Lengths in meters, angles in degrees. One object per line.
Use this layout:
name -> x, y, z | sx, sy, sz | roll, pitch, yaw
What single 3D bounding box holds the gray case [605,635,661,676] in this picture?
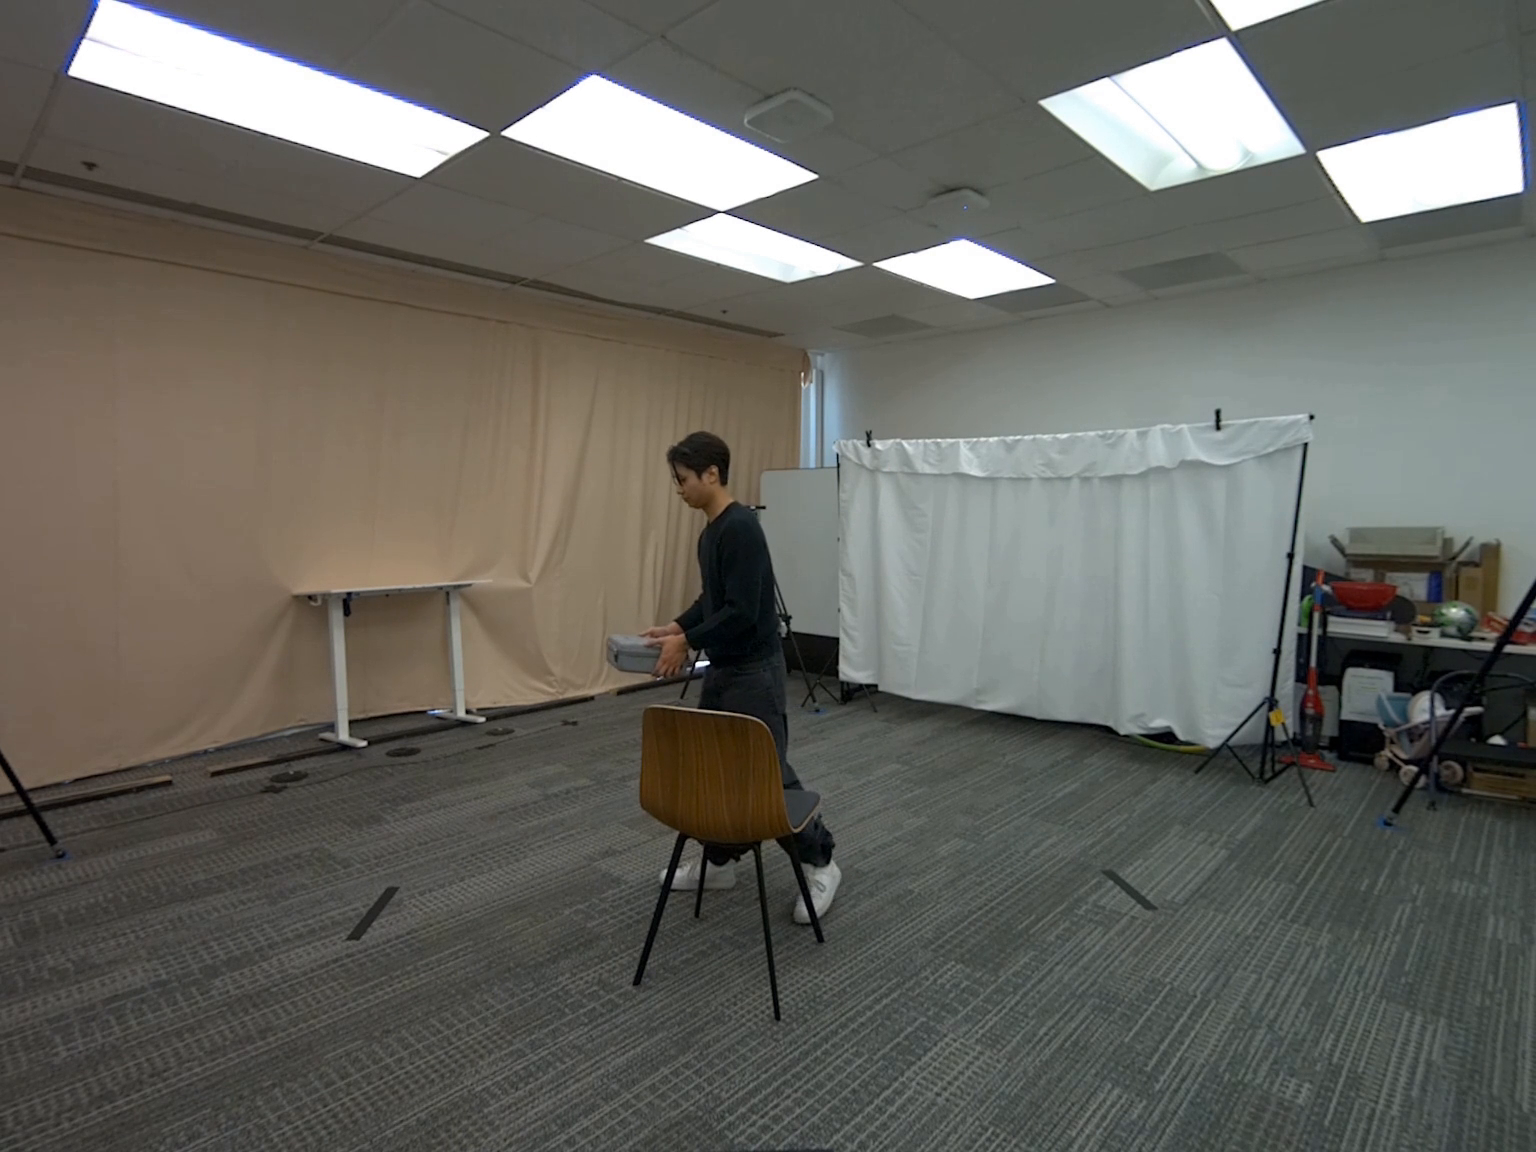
gray case -> -0.413, 0.276, 2.954 | 0.257, 0.104, 0.261 | 6, 1, -15
